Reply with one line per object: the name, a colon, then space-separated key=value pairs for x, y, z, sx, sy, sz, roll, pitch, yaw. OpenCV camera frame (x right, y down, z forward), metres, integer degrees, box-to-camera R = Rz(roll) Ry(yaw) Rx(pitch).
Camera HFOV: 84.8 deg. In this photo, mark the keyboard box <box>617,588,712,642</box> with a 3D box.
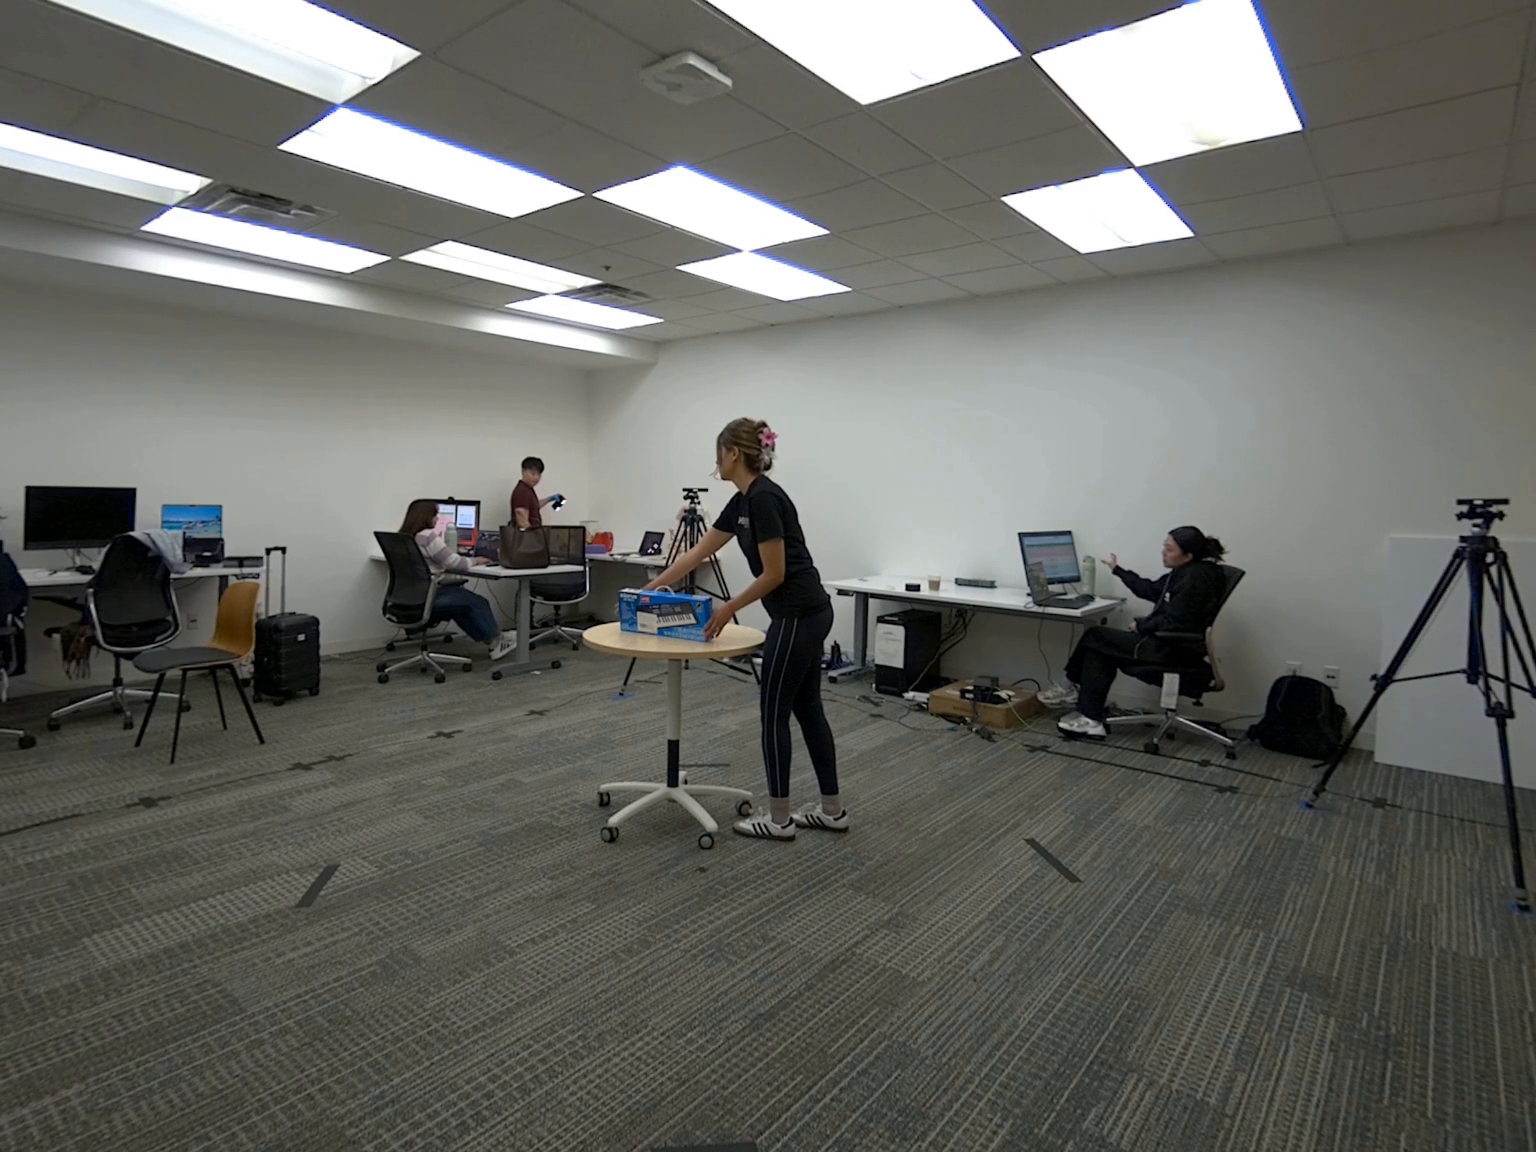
keyboard box: x=-0.438 y=0.158 z=3.511 sx=0.450 sy=0.174 sz=0.058 roll=4 pitch=11 yaw=30
